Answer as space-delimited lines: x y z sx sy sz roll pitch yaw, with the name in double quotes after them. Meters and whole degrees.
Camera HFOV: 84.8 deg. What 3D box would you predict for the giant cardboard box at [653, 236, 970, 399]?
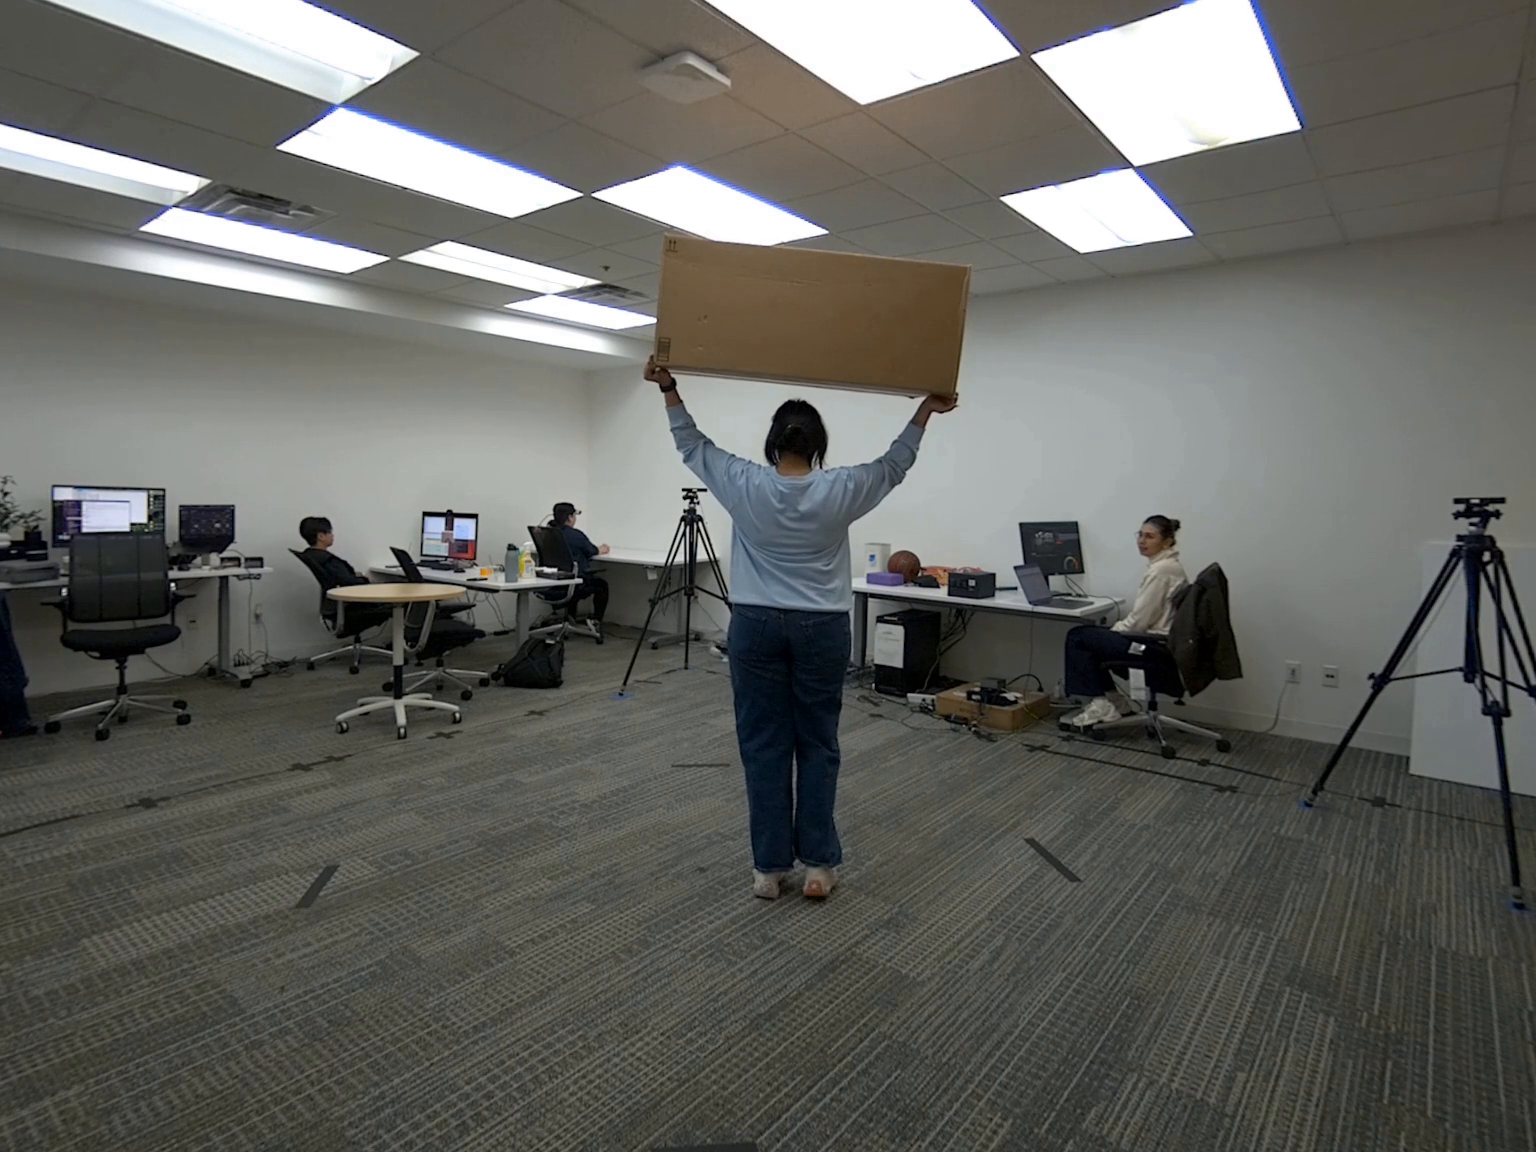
0.115 -0.918 3.081 1.022 0.423 0.584 5 10 -4 "giant cardboard box"
